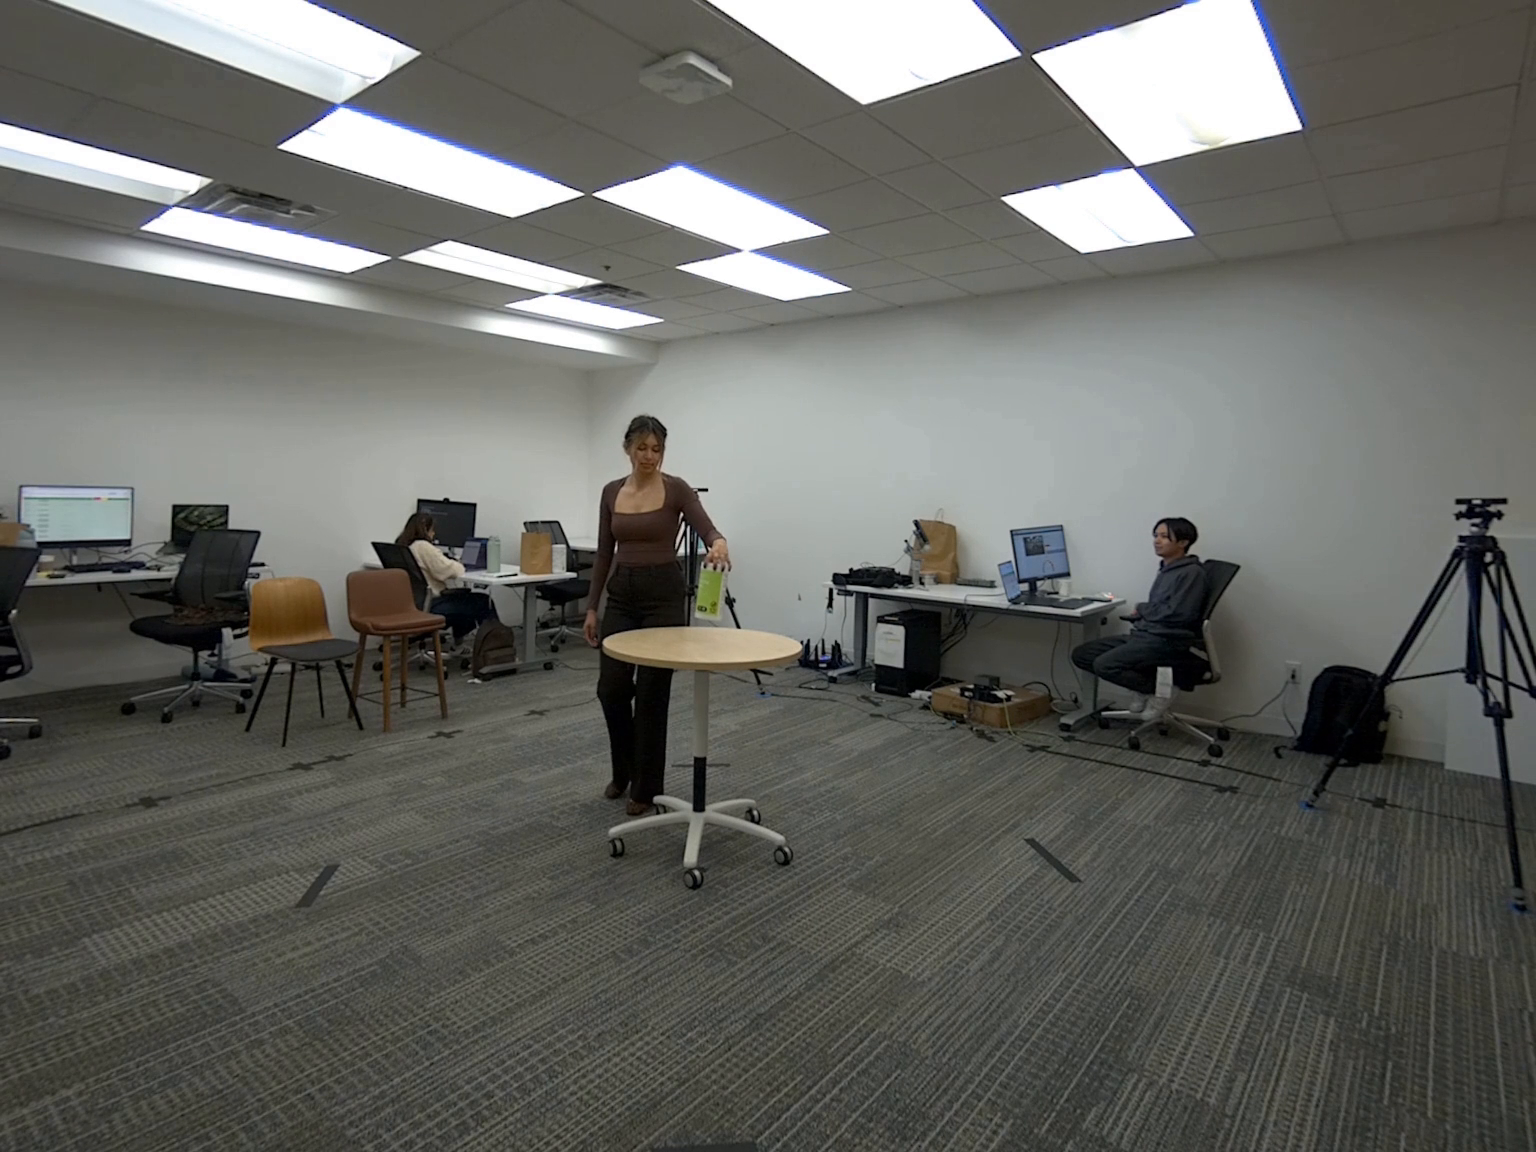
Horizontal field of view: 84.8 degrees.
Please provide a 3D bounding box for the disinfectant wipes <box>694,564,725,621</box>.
[{"bbox_3d":[-0.229,0.057,3.286,0.117,0.217,0.118,6,1,-2],"label":"disinfectant wipes"}]
